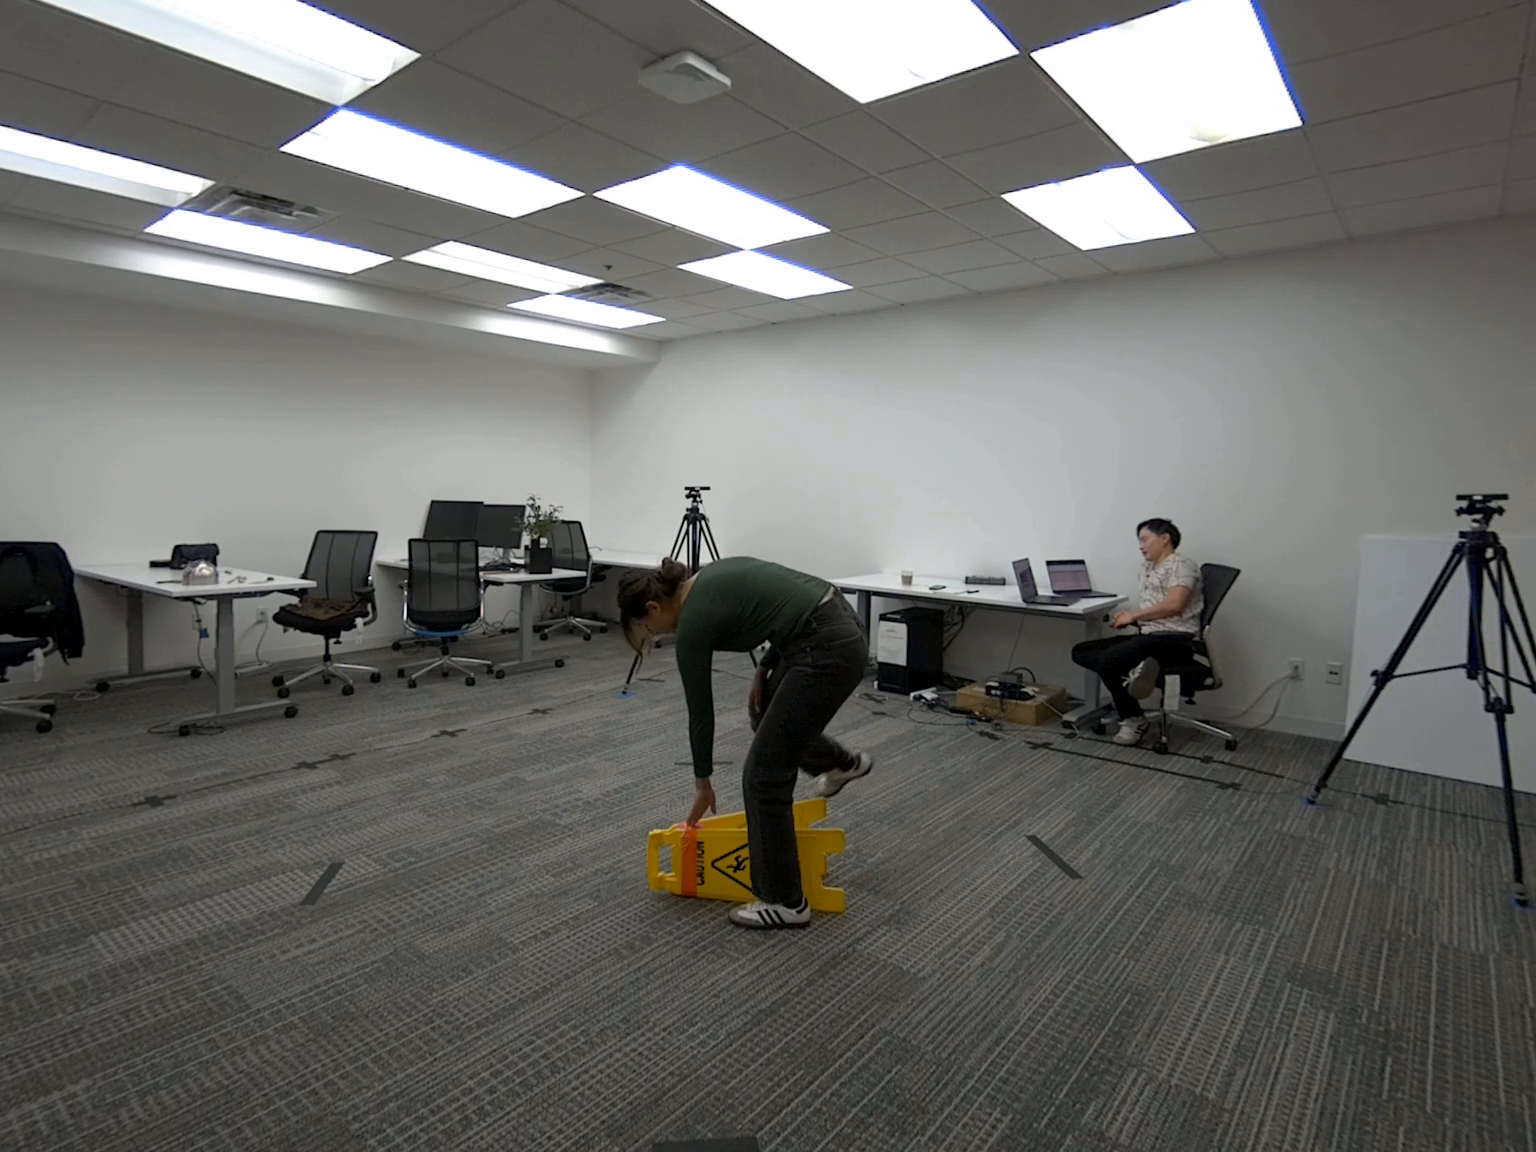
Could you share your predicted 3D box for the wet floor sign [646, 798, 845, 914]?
[{"bbox_3d":[-0.101,0.953,2.909,0.643,0.281,0.292,-2,5,-5],"label":"wet floor sign"}]
